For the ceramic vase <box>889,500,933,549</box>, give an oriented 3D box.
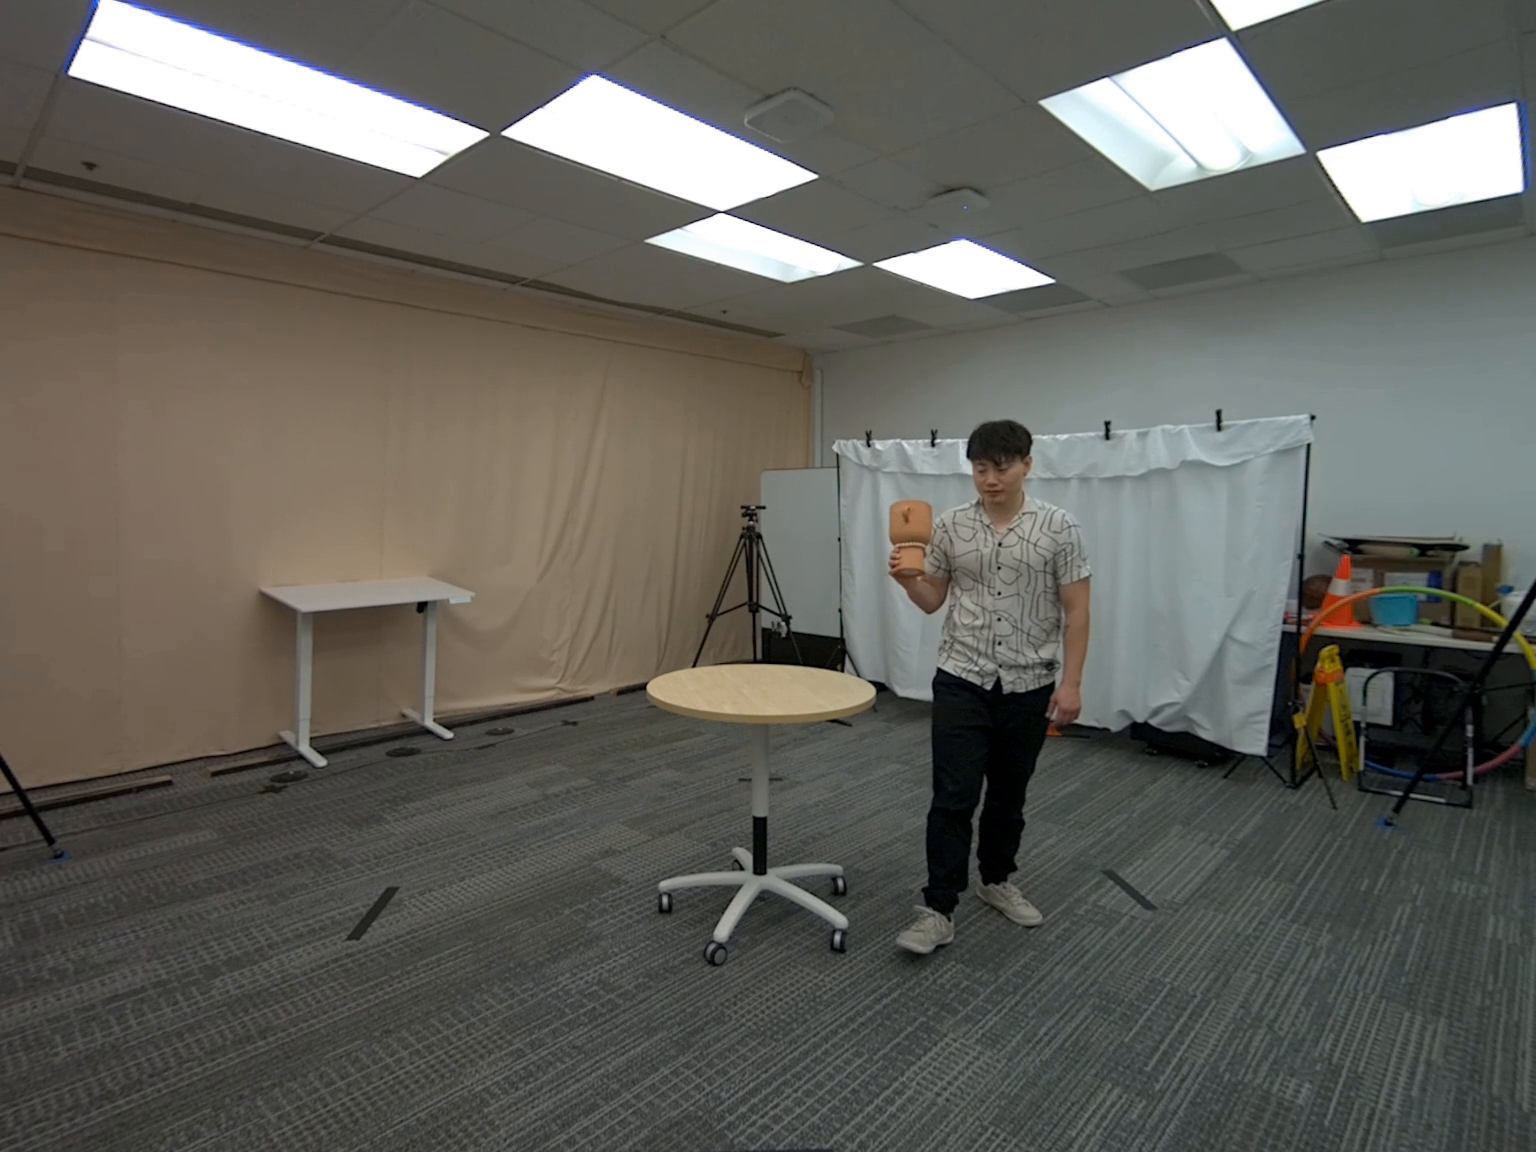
[{"bbox_3d":[0.460,-0.114,2.643,0.154,0.222,0.137,13,-19,-28],"label":"ceramic vase"}]
